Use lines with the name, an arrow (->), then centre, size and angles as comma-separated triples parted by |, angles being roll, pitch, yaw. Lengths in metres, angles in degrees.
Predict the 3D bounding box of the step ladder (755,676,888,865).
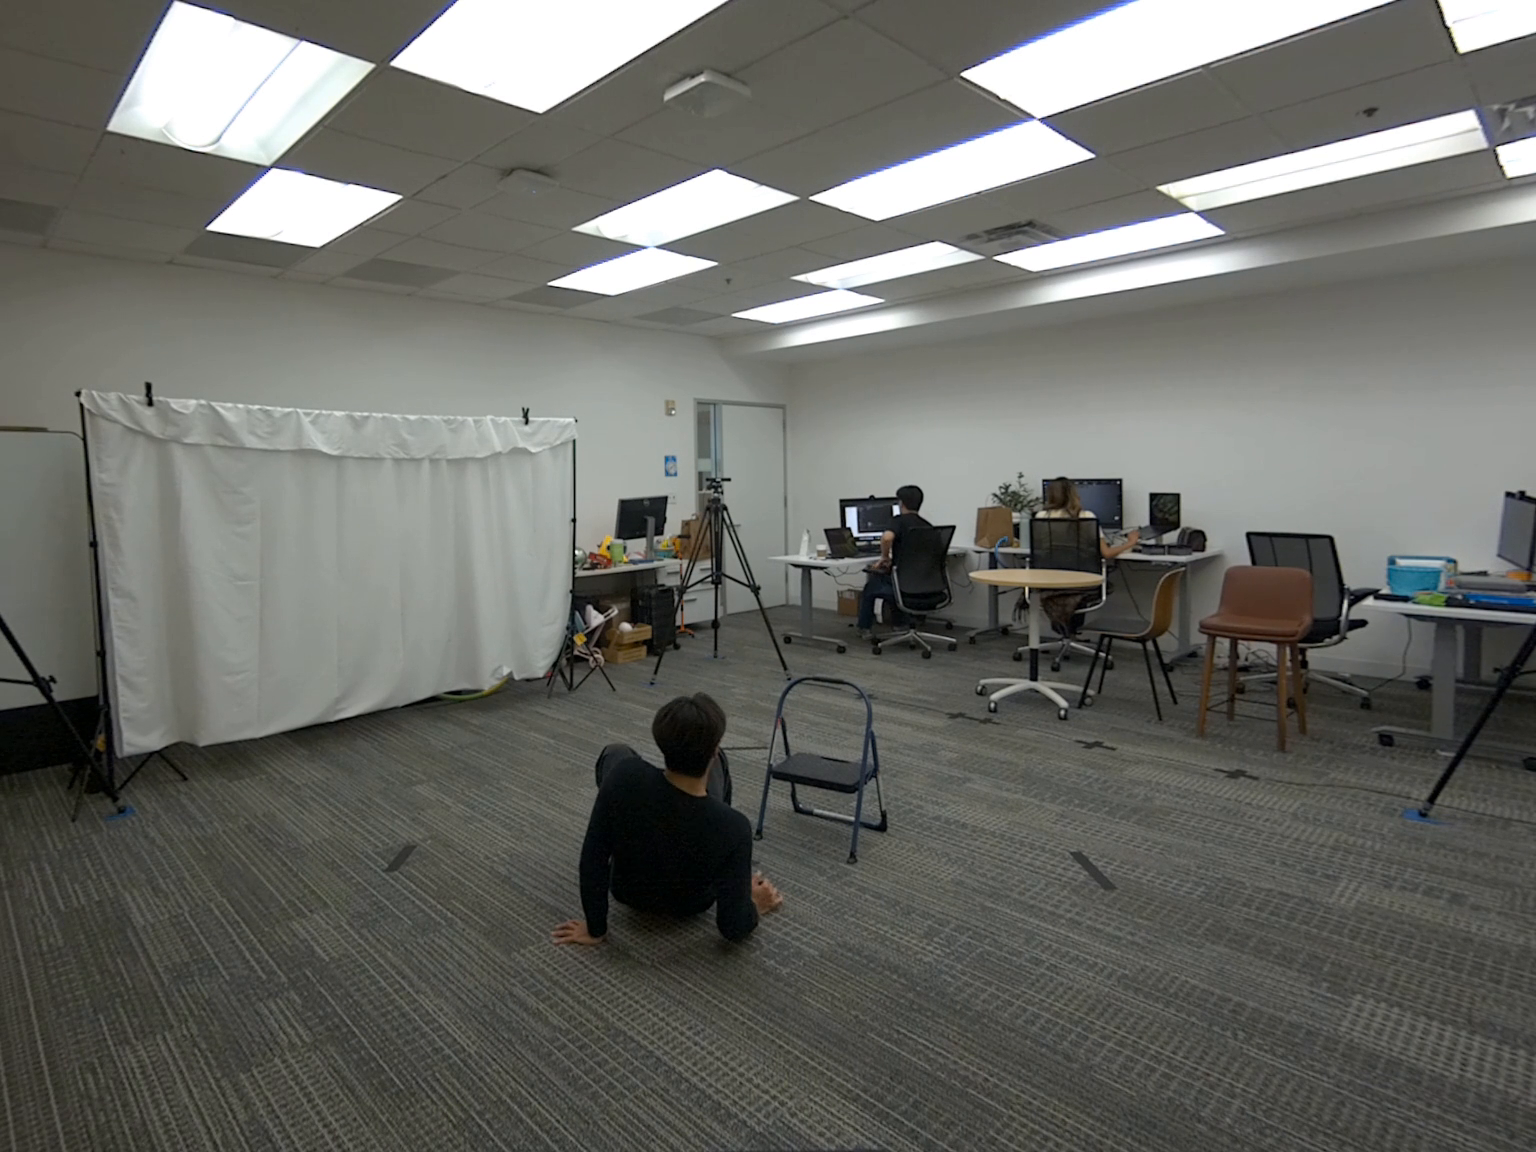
step ladder -> 0.210, 0.708, 3.321 | 0.442, 0.604, 0.341 | 2, 5, 32
